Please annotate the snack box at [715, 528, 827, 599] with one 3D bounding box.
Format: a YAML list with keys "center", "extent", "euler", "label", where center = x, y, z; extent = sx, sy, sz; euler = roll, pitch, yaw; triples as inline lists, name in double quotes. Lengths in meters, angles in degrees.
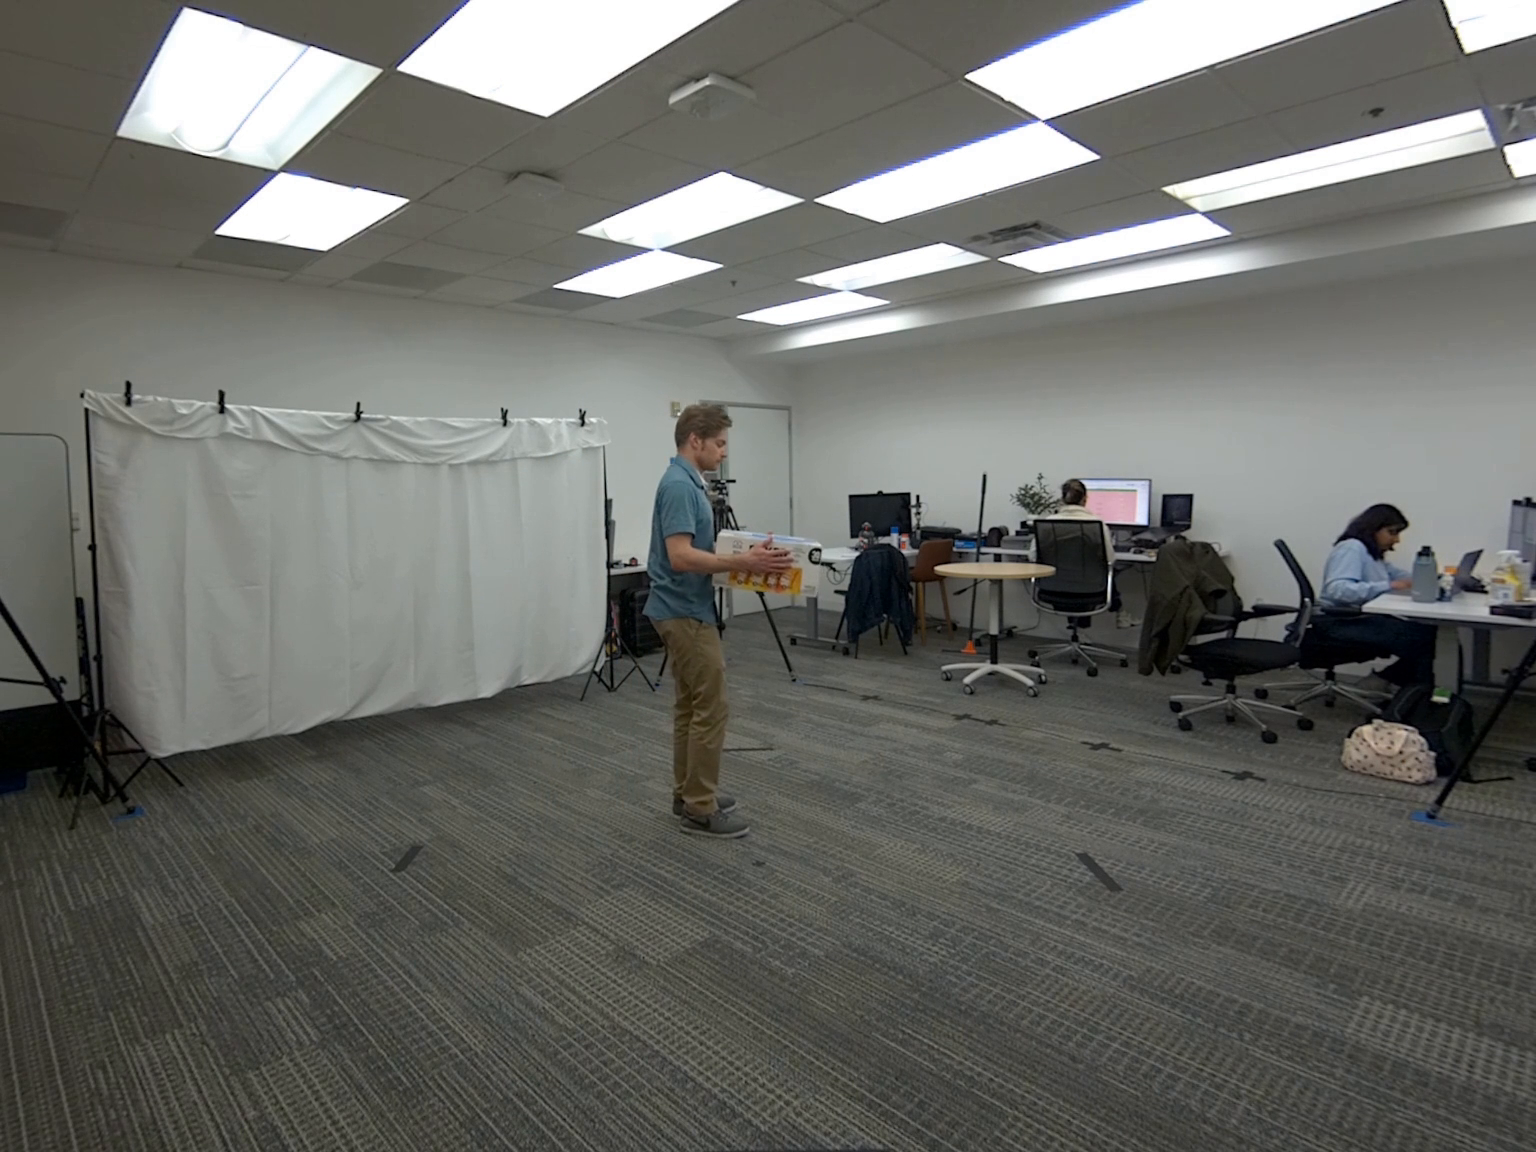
- center: [0.003, -0.059, 3.423]
  extent: [0.405, 0.205, 0.342]
  euler: [6, 6, 0]
  label: "snack box"
